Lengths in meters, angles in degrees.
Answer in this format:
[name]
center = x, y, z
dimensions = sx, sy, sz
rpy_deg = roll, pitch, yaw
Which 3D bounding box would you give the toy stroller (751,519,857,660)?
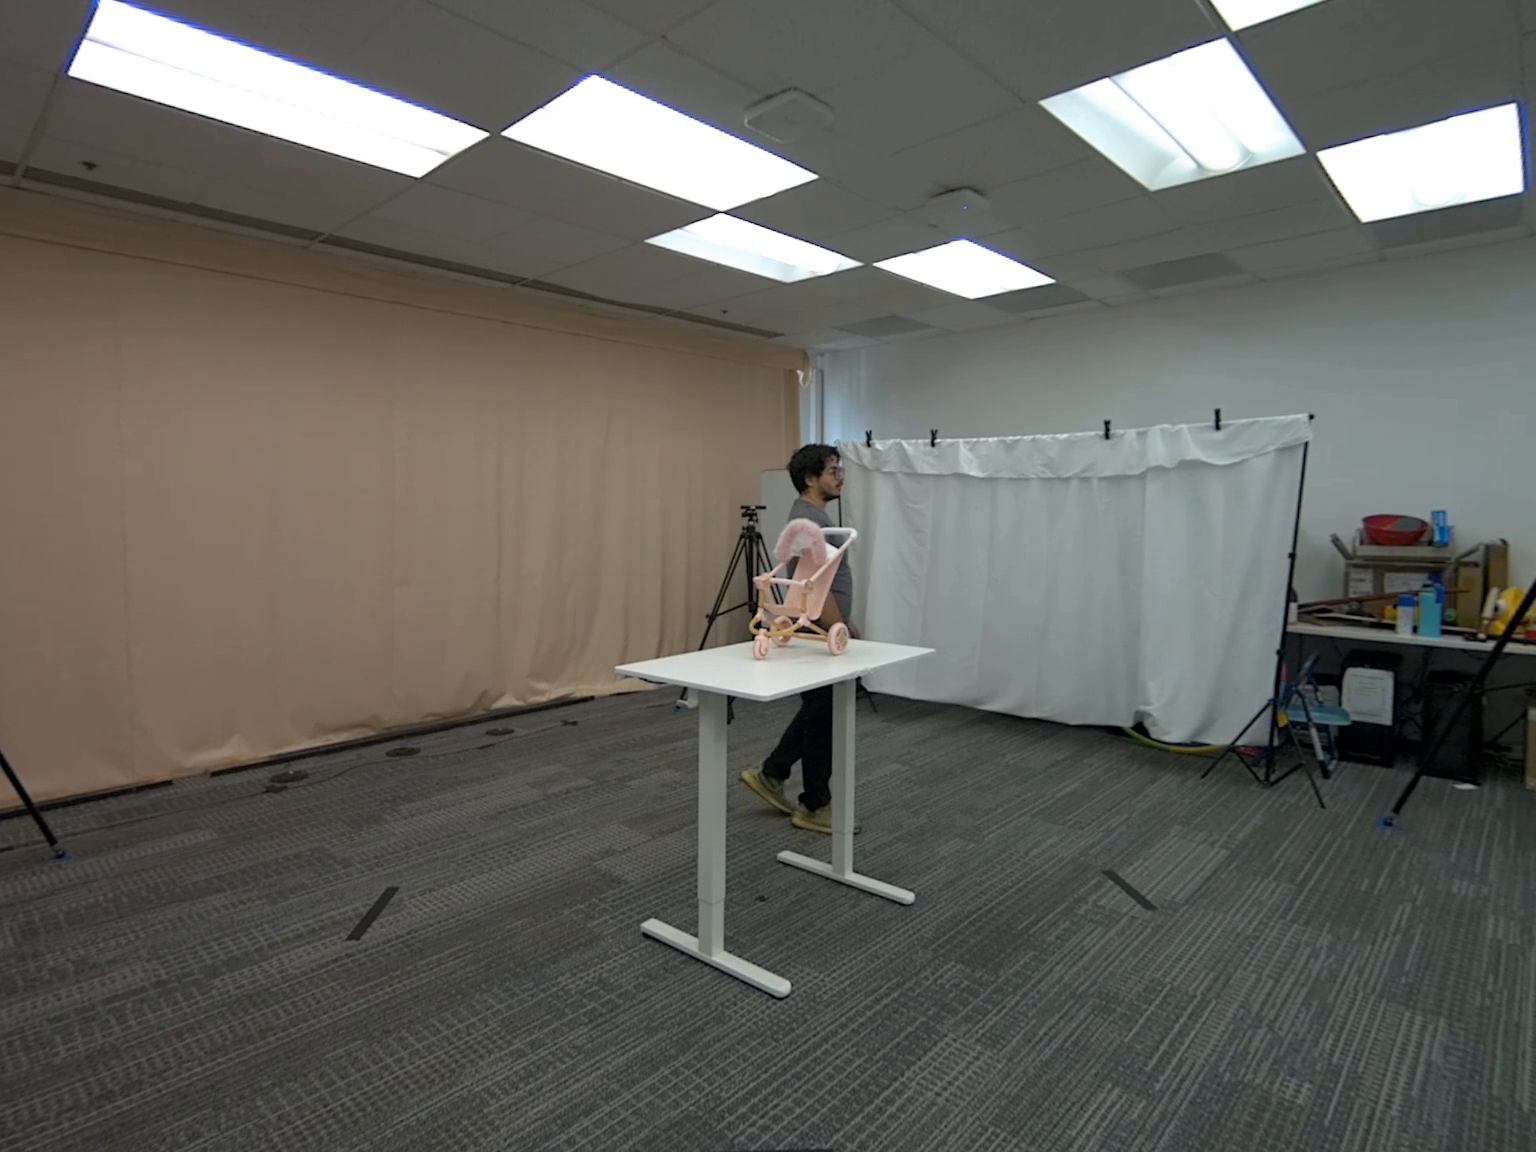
[toy stroller]
center = 0.106, 0.046, 2.904
dimensions = 0.329, 0.536, 0.291
rpy_deg = 20, -11, -43
